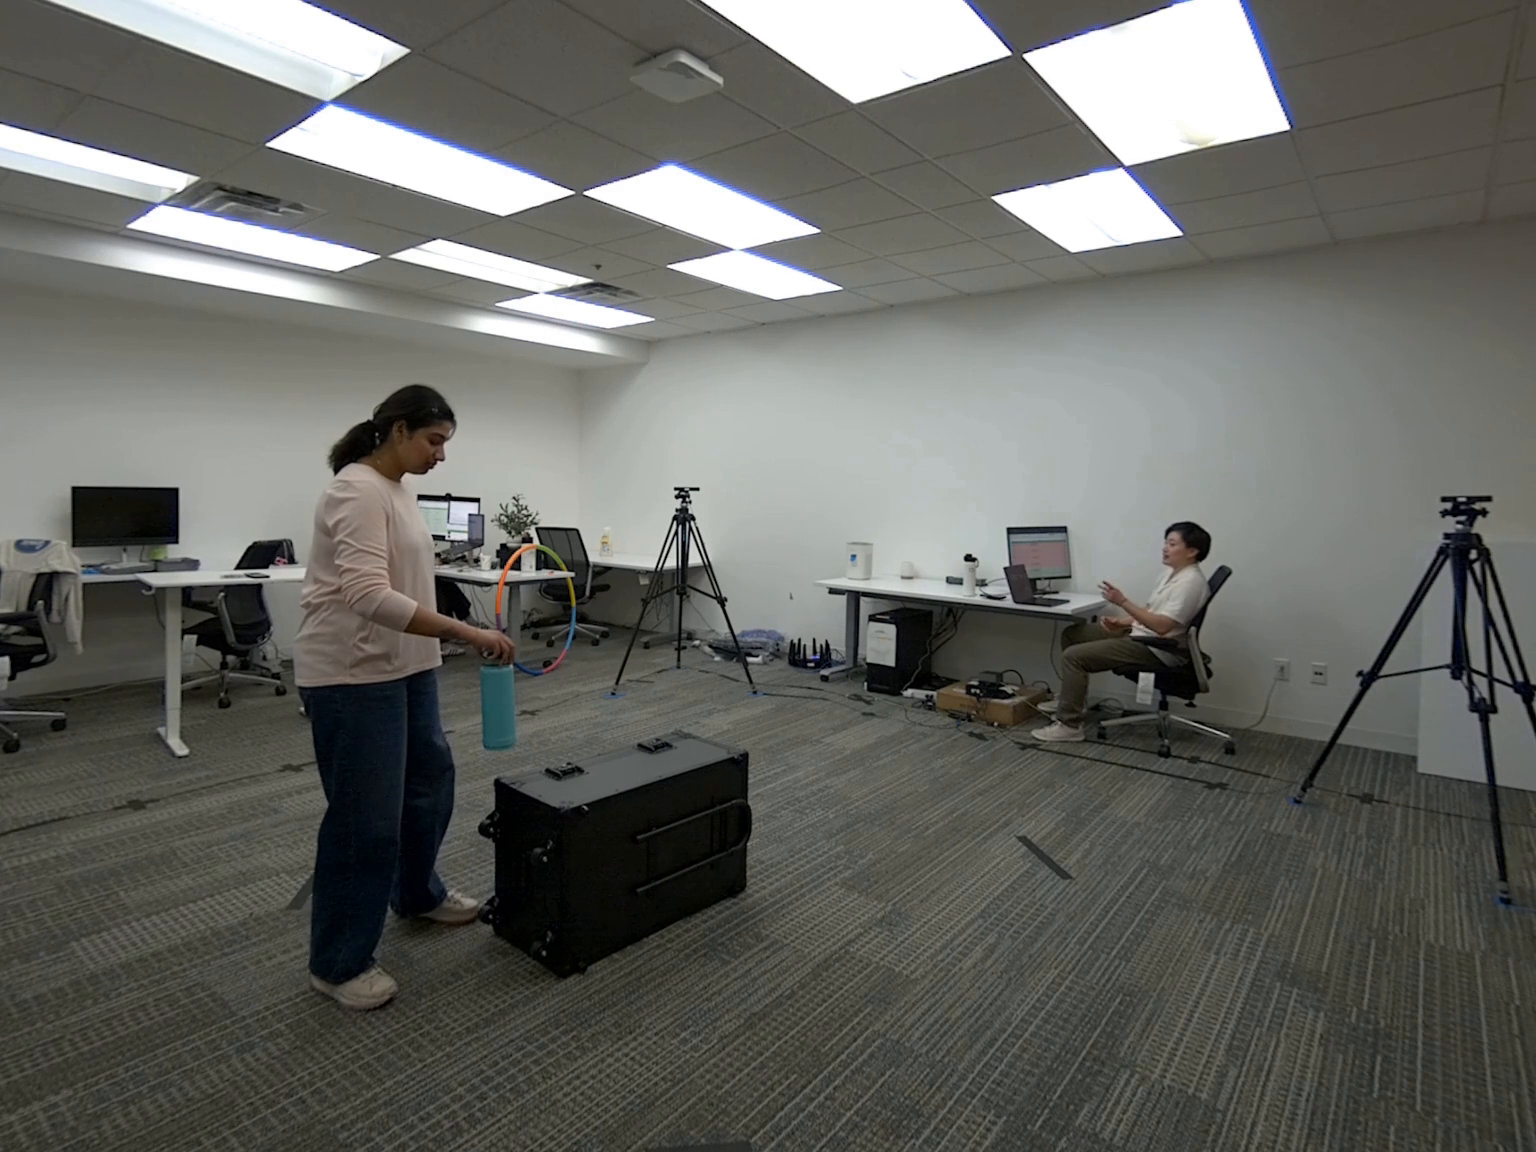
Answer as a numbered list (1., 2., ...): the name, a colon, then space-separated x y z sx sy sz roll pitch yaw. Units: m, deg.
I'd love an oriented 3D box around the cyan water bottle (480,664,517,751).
1. cyan water bottle: -0.760 0.333 2.305 0.092 0.282 0.093 -3 4 -2
